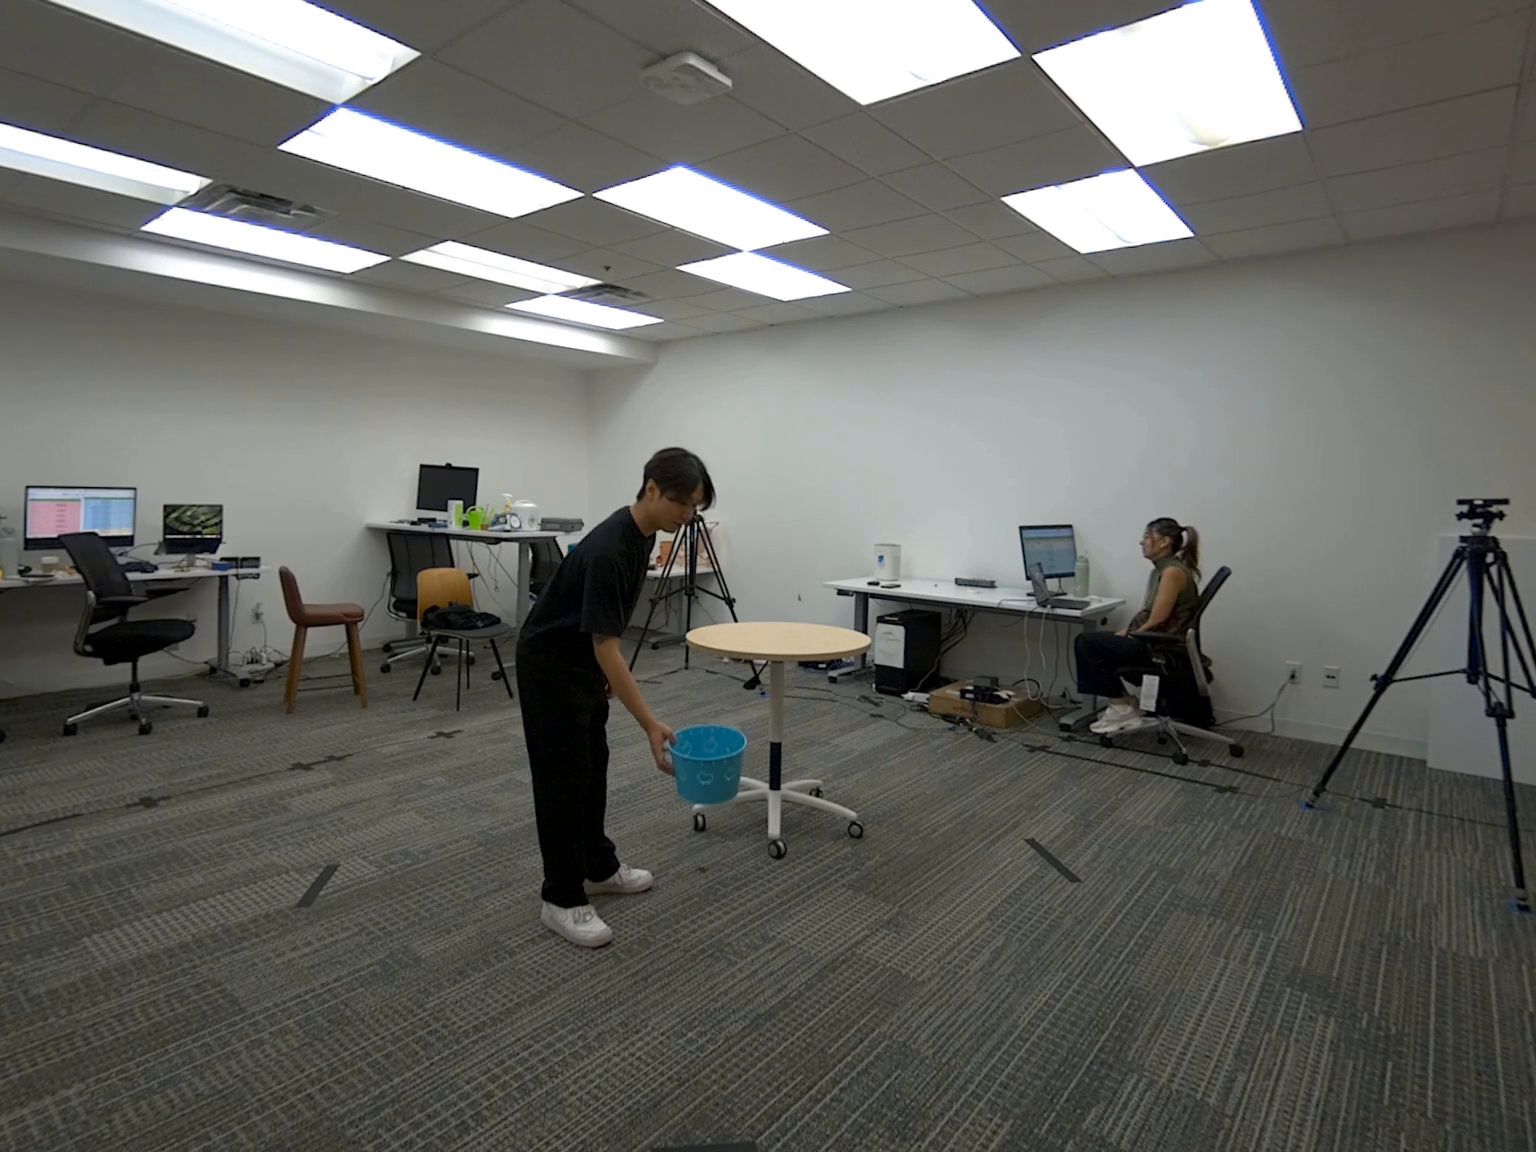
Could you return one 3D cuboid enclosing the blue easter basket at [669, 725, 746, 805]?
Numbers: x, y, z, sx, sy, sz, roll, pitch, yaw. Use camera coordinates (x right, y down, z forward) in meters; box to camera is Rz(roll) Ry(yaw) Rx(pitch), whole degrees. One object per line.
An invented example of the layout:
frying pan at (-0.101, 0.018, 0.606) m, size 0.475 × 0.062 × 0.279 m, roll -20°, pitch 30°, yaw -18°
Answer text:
blue easter basket at (-0.181, 0.545, 2.471) m, size 0.243 × 0.154 × 0.247 m, roll -2°, pitch 13°, yaw -1°
